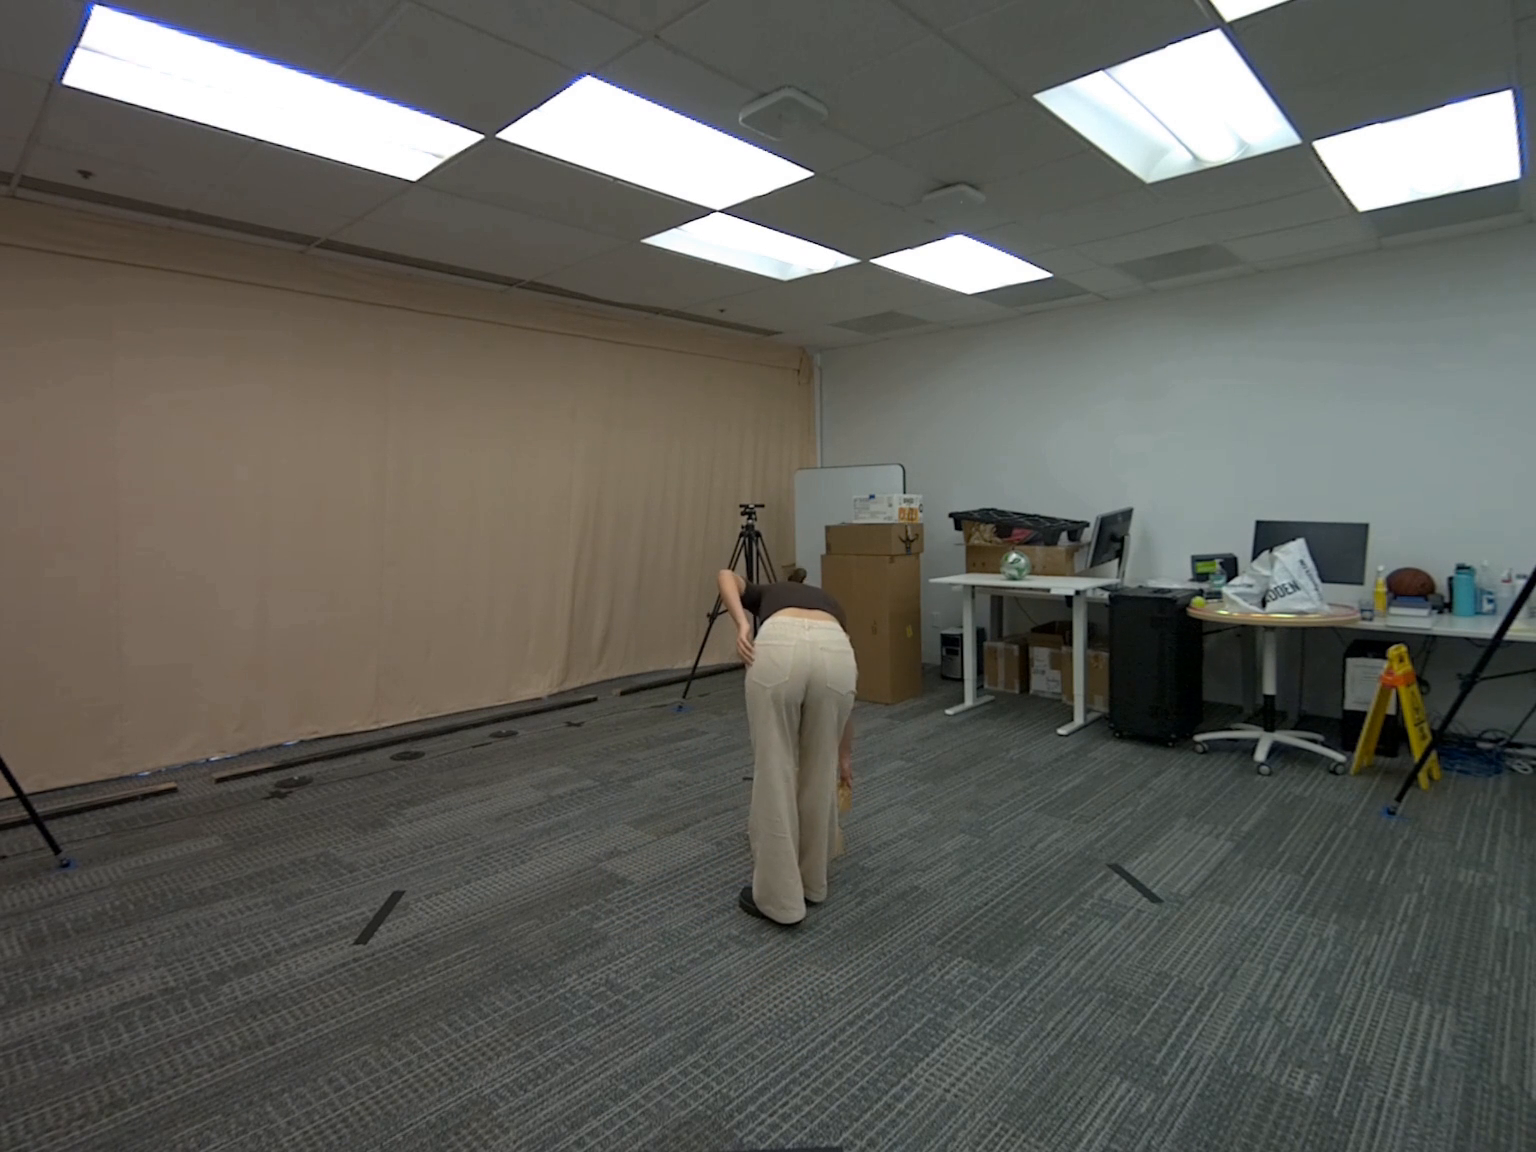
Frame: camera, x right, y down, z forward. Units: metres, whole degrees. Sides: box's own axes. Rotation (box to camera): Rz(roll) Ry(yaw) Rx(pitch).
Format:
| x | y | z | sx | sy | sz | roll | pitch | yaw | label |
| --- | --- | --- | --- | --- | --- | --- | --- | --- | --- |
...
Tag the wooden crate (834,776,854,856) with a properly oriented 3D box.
| x | y | z | sx | sy | sz | roll | pitch | yaw | label |
| --- | --- | --- | --- | --- | --- | --- | --- | --- | --- |
| 0.130 | 0.962 | 3.400 | 0.293 | 0.273 | 0.335 | -2 | 4 | -39 | wooden crate |
